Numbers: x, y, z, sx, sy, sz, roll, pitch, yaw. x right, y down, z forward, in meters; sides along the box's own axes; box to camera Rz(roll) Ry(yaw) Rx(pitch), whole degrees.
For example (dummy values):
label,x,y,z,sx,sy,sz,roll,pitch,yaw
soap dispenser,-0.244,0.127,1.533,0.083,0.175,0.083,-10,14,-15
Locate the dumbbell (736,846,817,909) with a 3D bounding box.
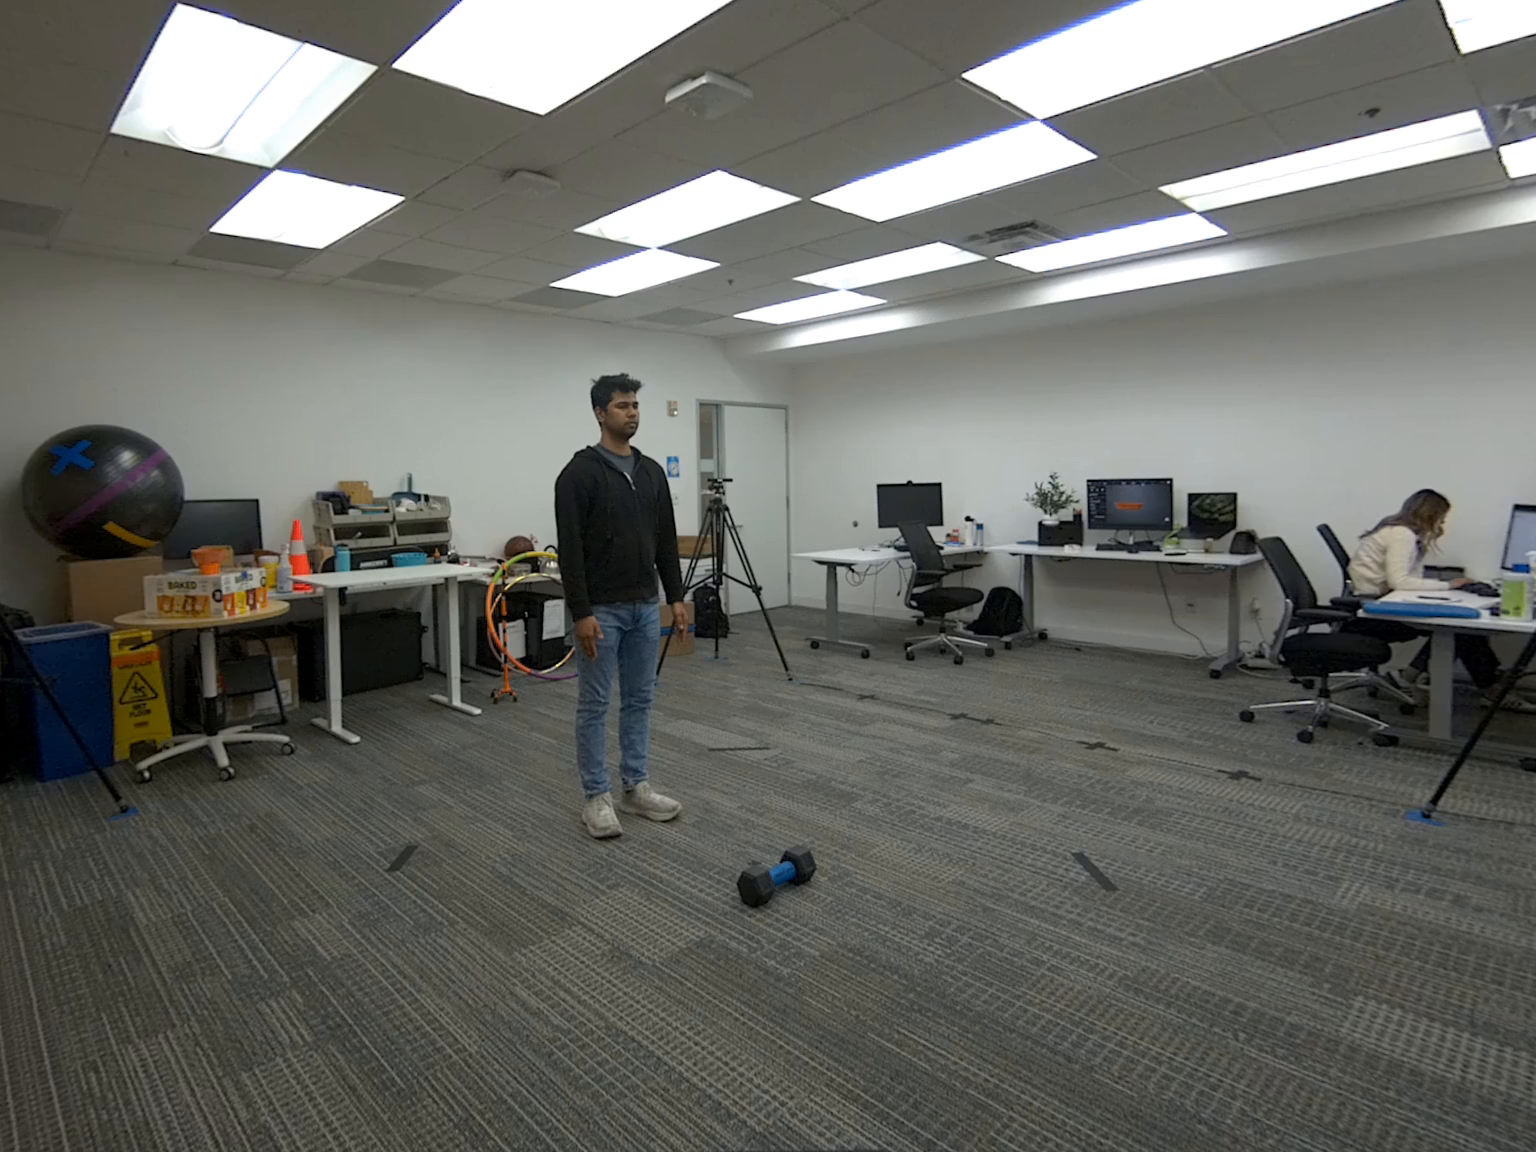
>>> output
label,x,y,z,sx,sy,sz,roll,pitch,yaw
dumbbell,0.036,1.011,2.893,0.286,0.126,0.109,-6,-25,-45
